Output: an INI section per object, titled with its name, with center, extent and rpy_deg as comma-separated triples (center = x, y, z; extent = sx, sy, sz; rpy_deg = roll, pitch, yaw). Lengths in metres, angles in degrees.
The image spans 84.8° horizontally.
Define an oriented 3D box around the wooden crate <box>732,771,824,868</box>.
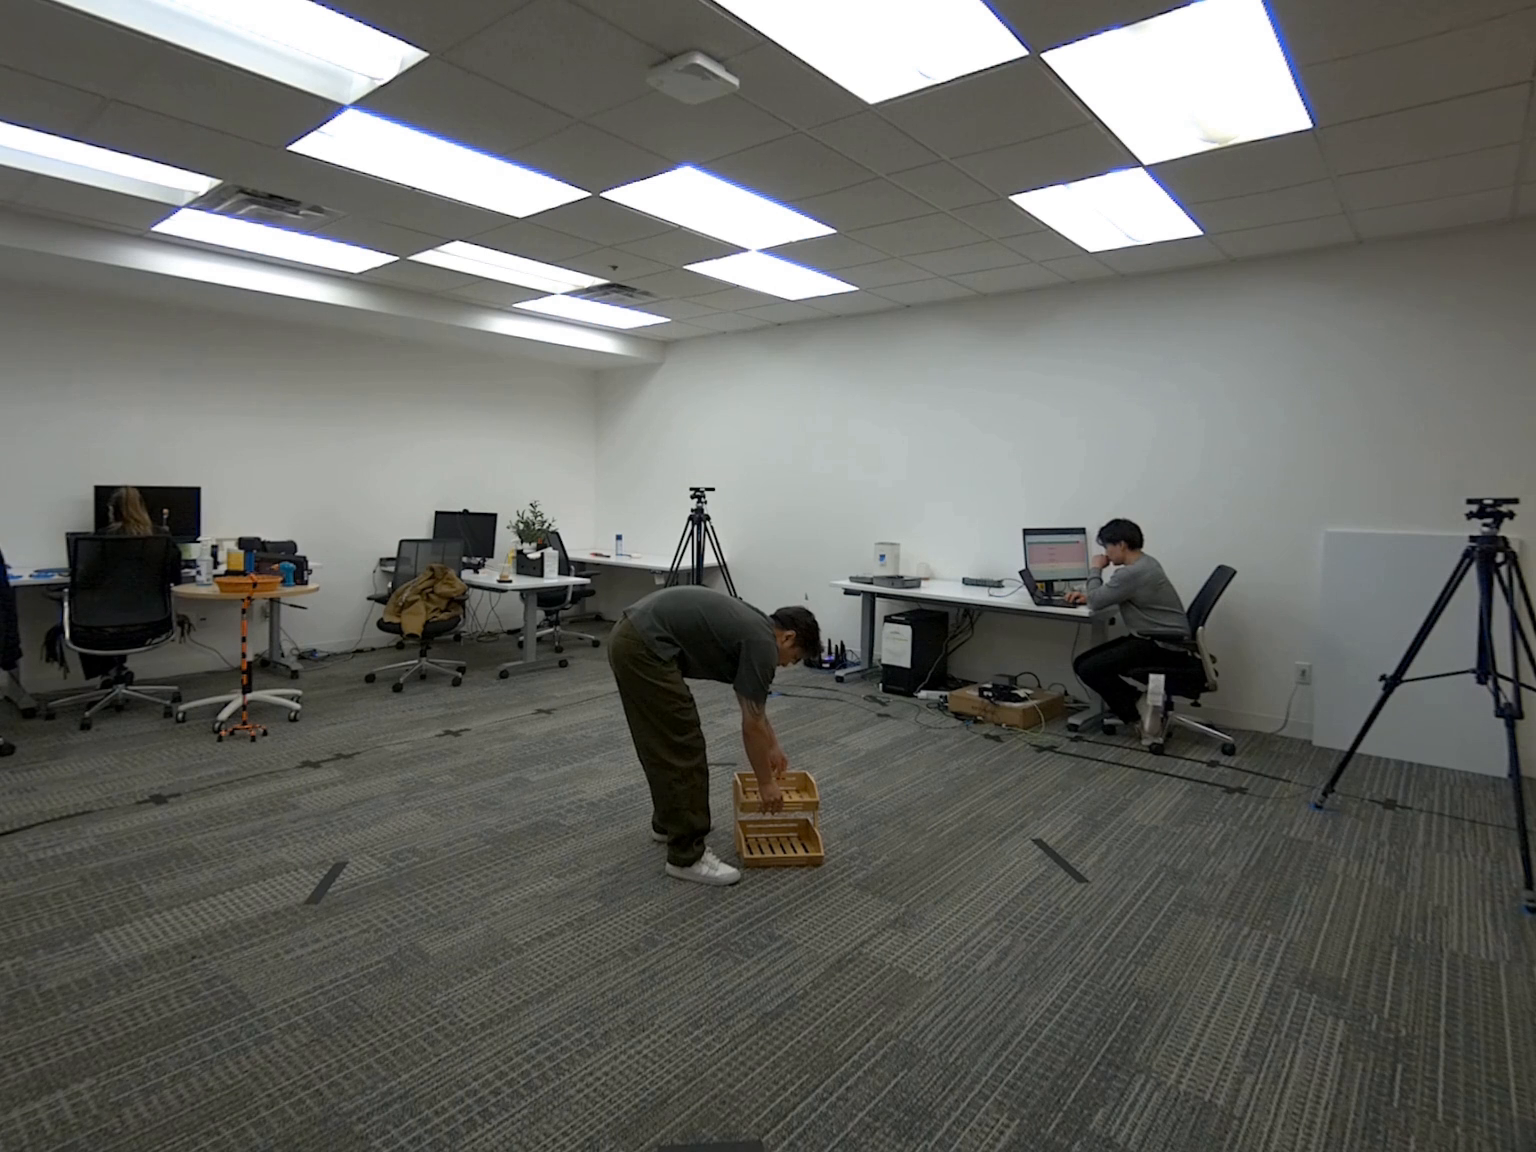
[wooden crate]
center = 0.035, 0.925, 3.255
extent = 0.321, 0.272, 0.306
rpy_deg = 2, 4, -9
